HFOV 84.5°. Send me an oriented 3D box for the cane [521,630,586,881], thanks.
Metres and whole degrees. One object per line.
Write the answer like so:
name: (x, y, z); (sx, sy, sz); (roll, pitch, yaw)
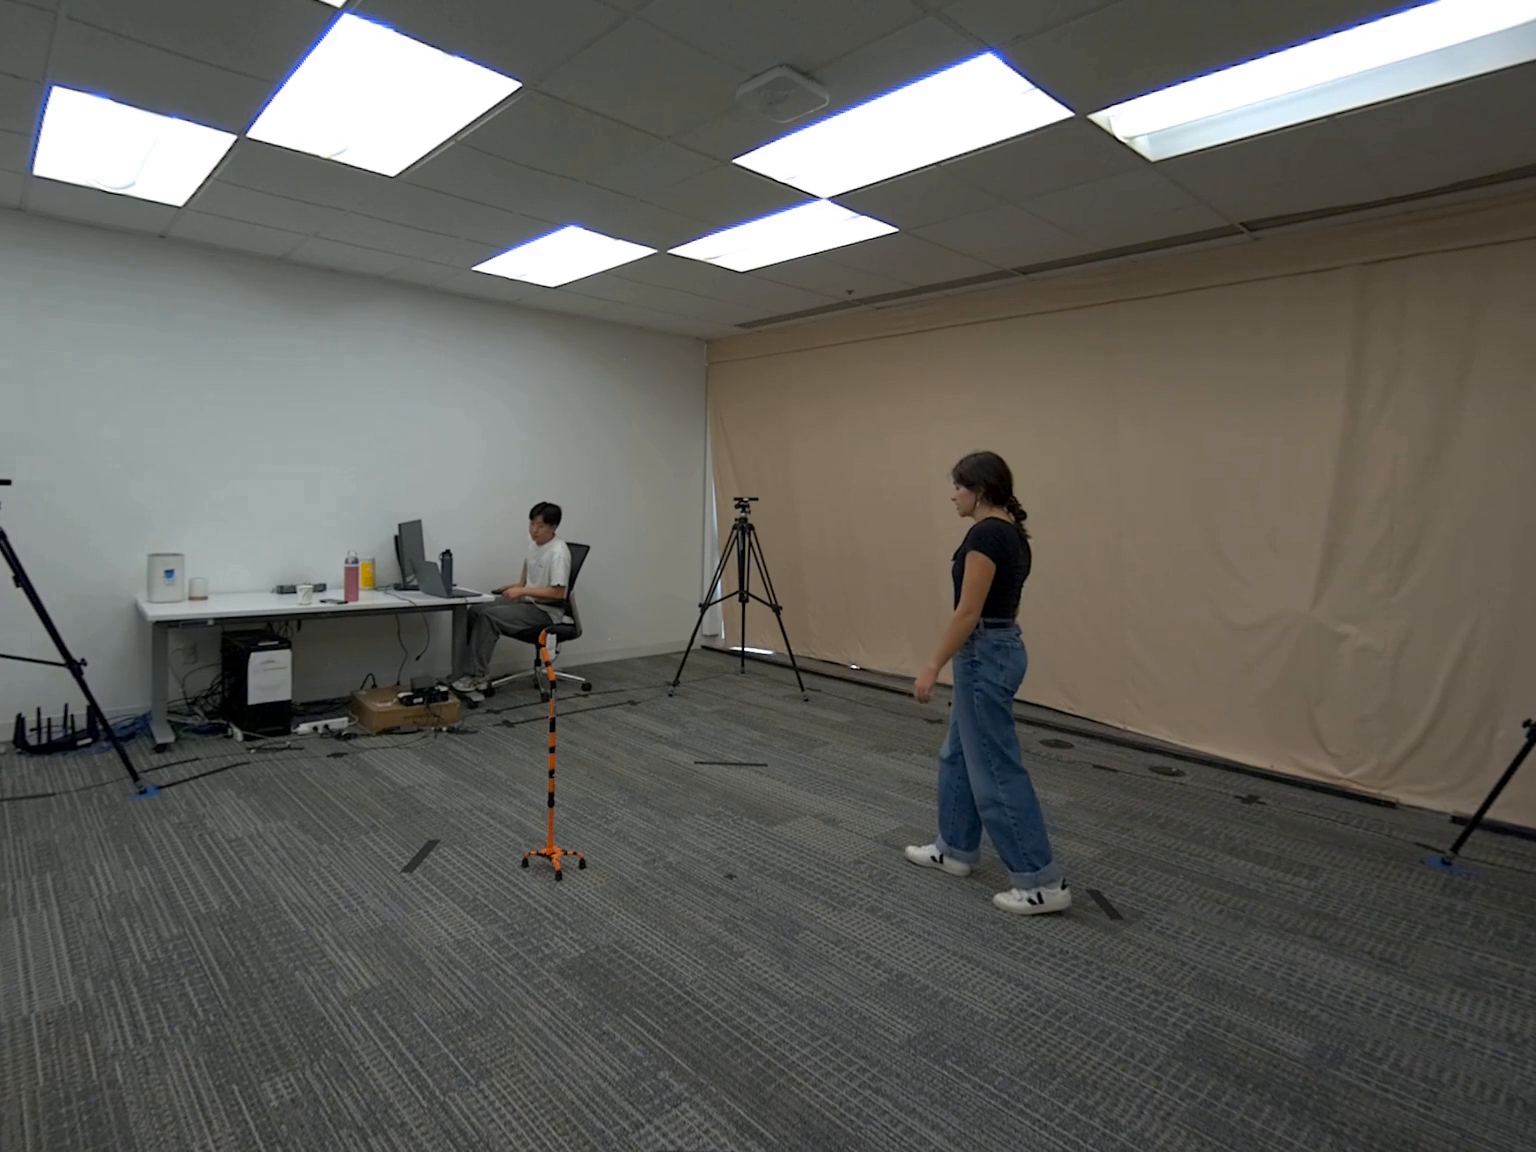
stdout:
cane: (-0.795, 0.635, 3.121); (0.211, 0.905, 0.148); (4, 4, 30)
